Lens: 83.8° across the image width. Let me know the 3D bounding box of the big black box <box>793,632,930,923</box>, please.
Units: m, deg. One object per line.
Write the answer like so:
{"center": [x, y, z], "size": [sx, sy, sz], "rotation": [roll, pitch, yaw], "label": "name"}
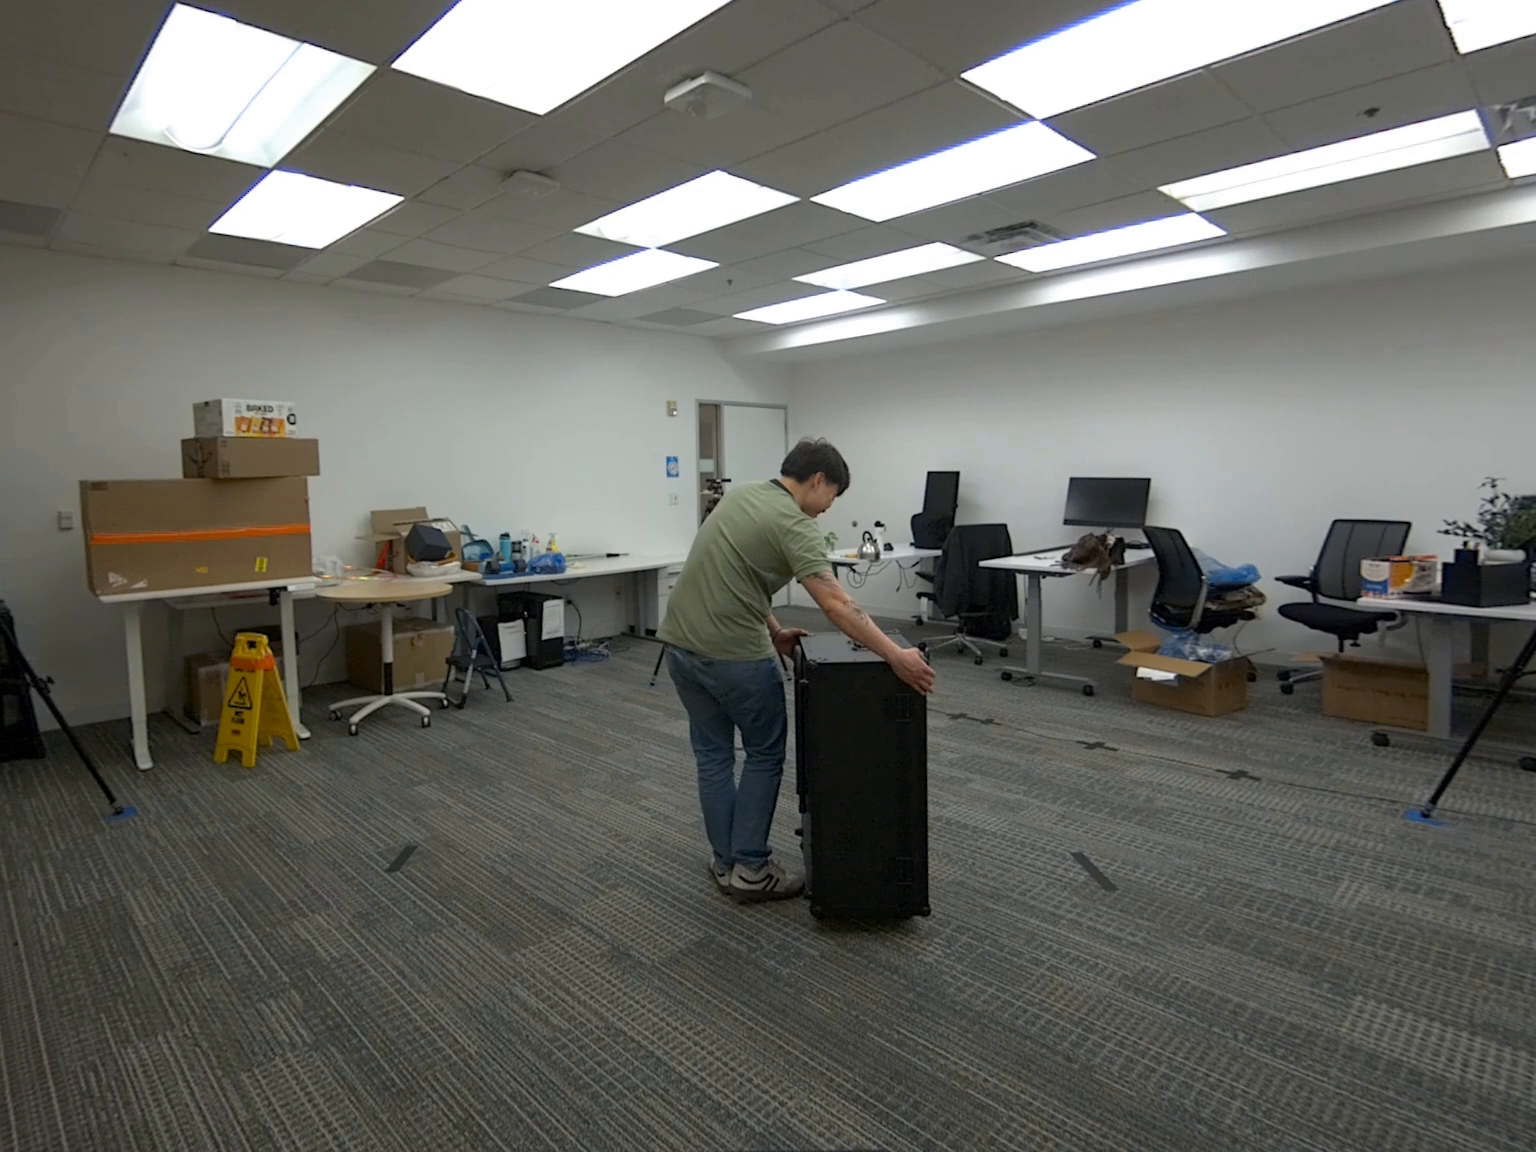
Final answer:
{"center": [0.292, 0.650, 2.786], "size": [0.397, 0.858, 0.522], "rotation": [-1, 5, 1], "label": "big black box"}
